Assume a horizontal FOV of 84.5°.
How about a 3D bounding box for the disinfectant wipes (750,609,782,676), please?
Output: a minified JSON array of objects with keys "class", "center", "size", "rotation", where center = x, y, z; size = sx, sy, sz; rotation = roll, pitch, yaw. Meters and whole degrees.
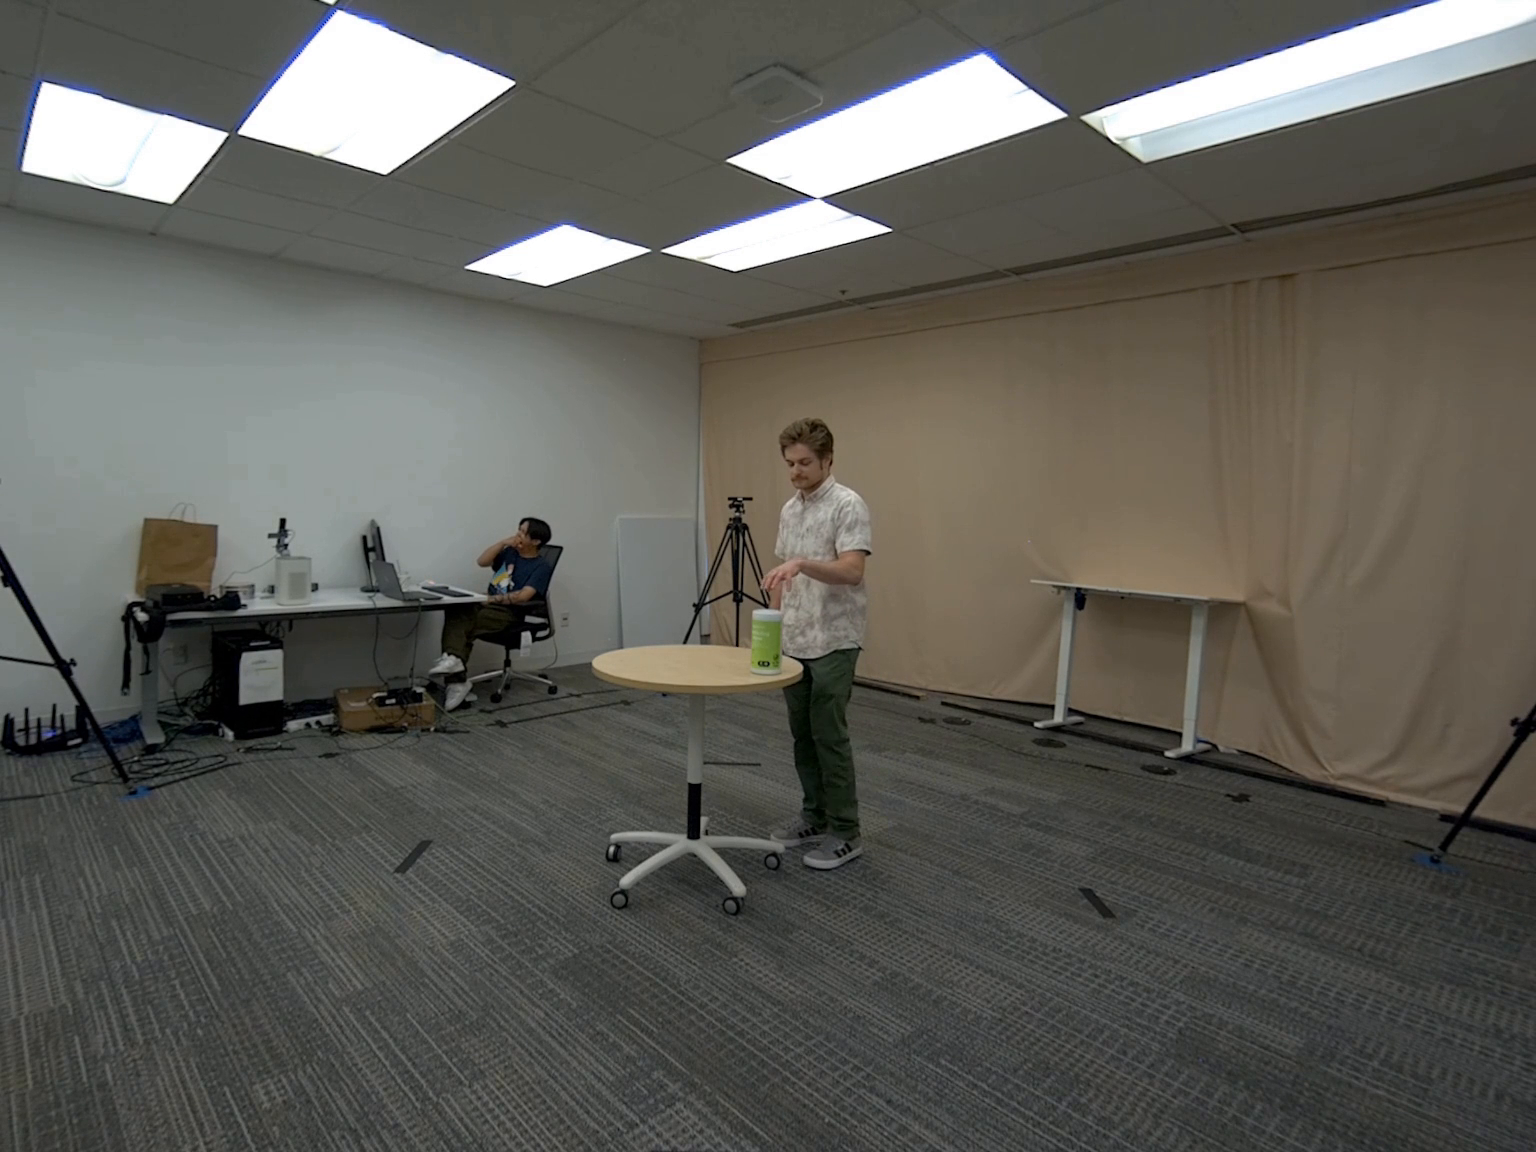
[{"class":"disinfectant wipes","center":[-0.011,0.232,2.926],"size":[0.118,0.217,0.118],"rotation":[3,4,-2]}]
